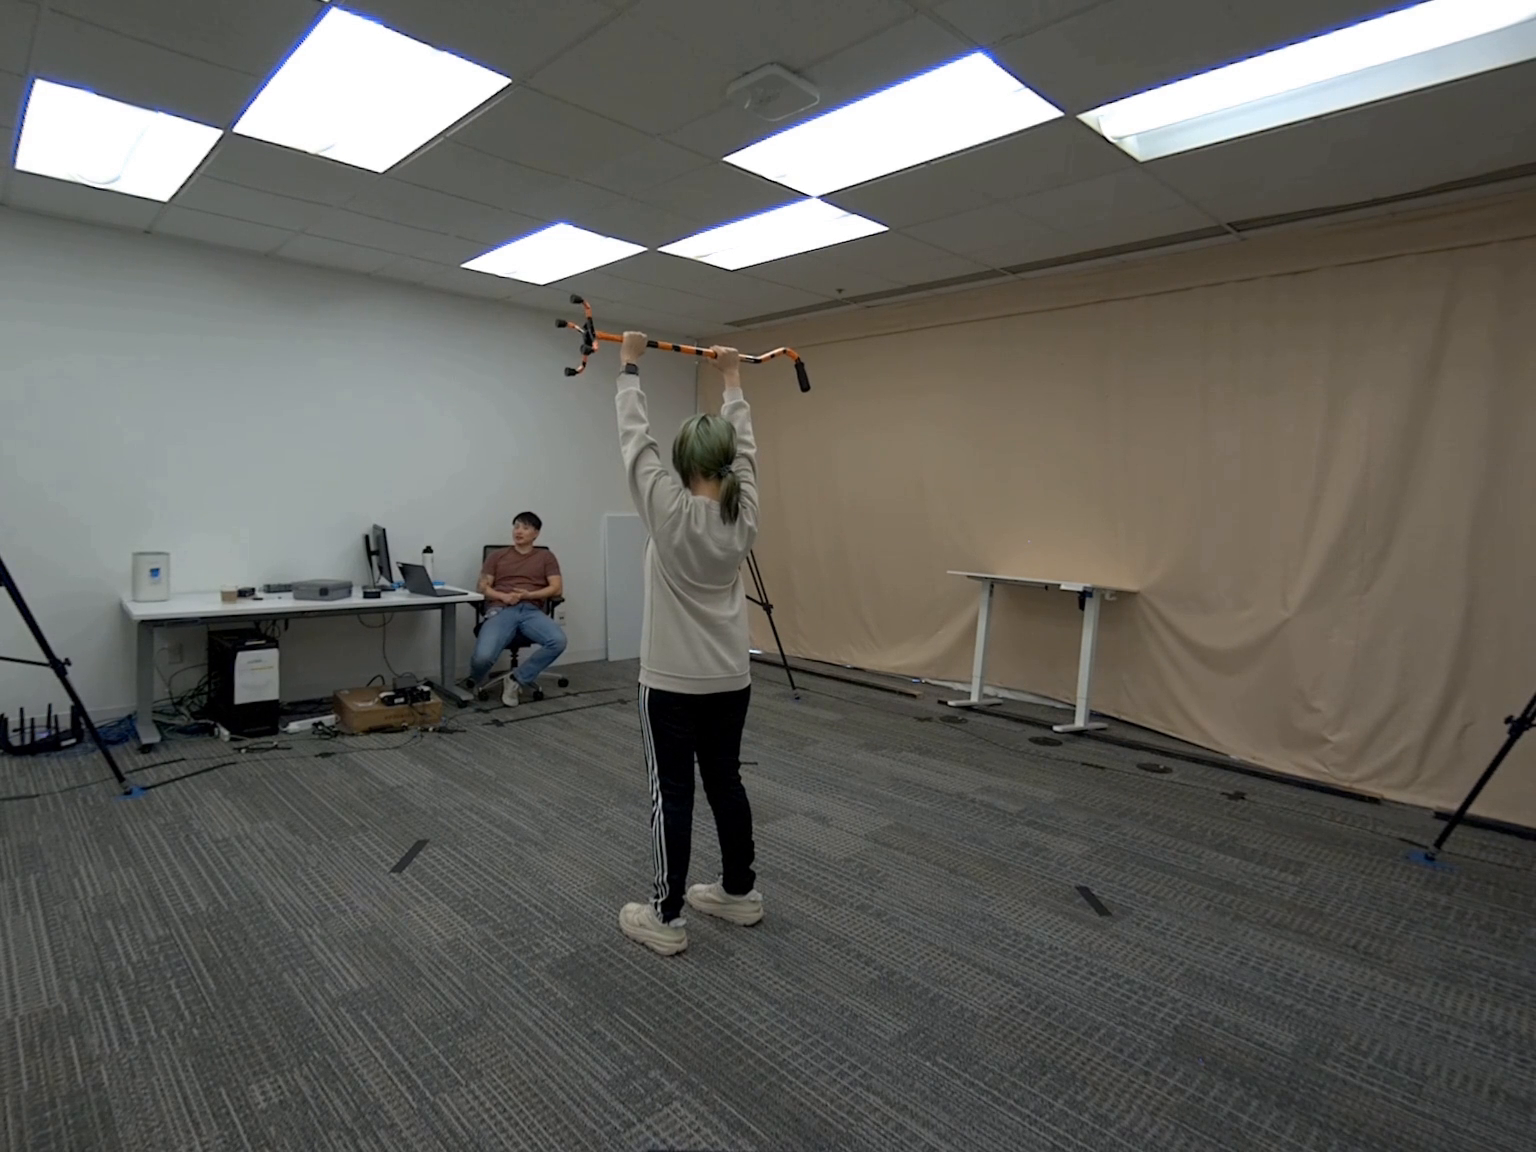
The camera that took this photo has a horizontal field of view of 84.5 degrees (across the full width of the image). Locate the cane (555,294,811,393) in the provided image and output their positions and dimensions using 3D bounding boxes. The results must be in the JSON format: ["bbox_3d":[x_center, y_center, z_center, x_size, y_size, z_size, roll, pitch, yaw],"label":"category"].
[{"bbox_3d":[-0.242,-0.737,2.792,0.888,0.210,0.152,-2,-21,-36],"label":"cane"}]
